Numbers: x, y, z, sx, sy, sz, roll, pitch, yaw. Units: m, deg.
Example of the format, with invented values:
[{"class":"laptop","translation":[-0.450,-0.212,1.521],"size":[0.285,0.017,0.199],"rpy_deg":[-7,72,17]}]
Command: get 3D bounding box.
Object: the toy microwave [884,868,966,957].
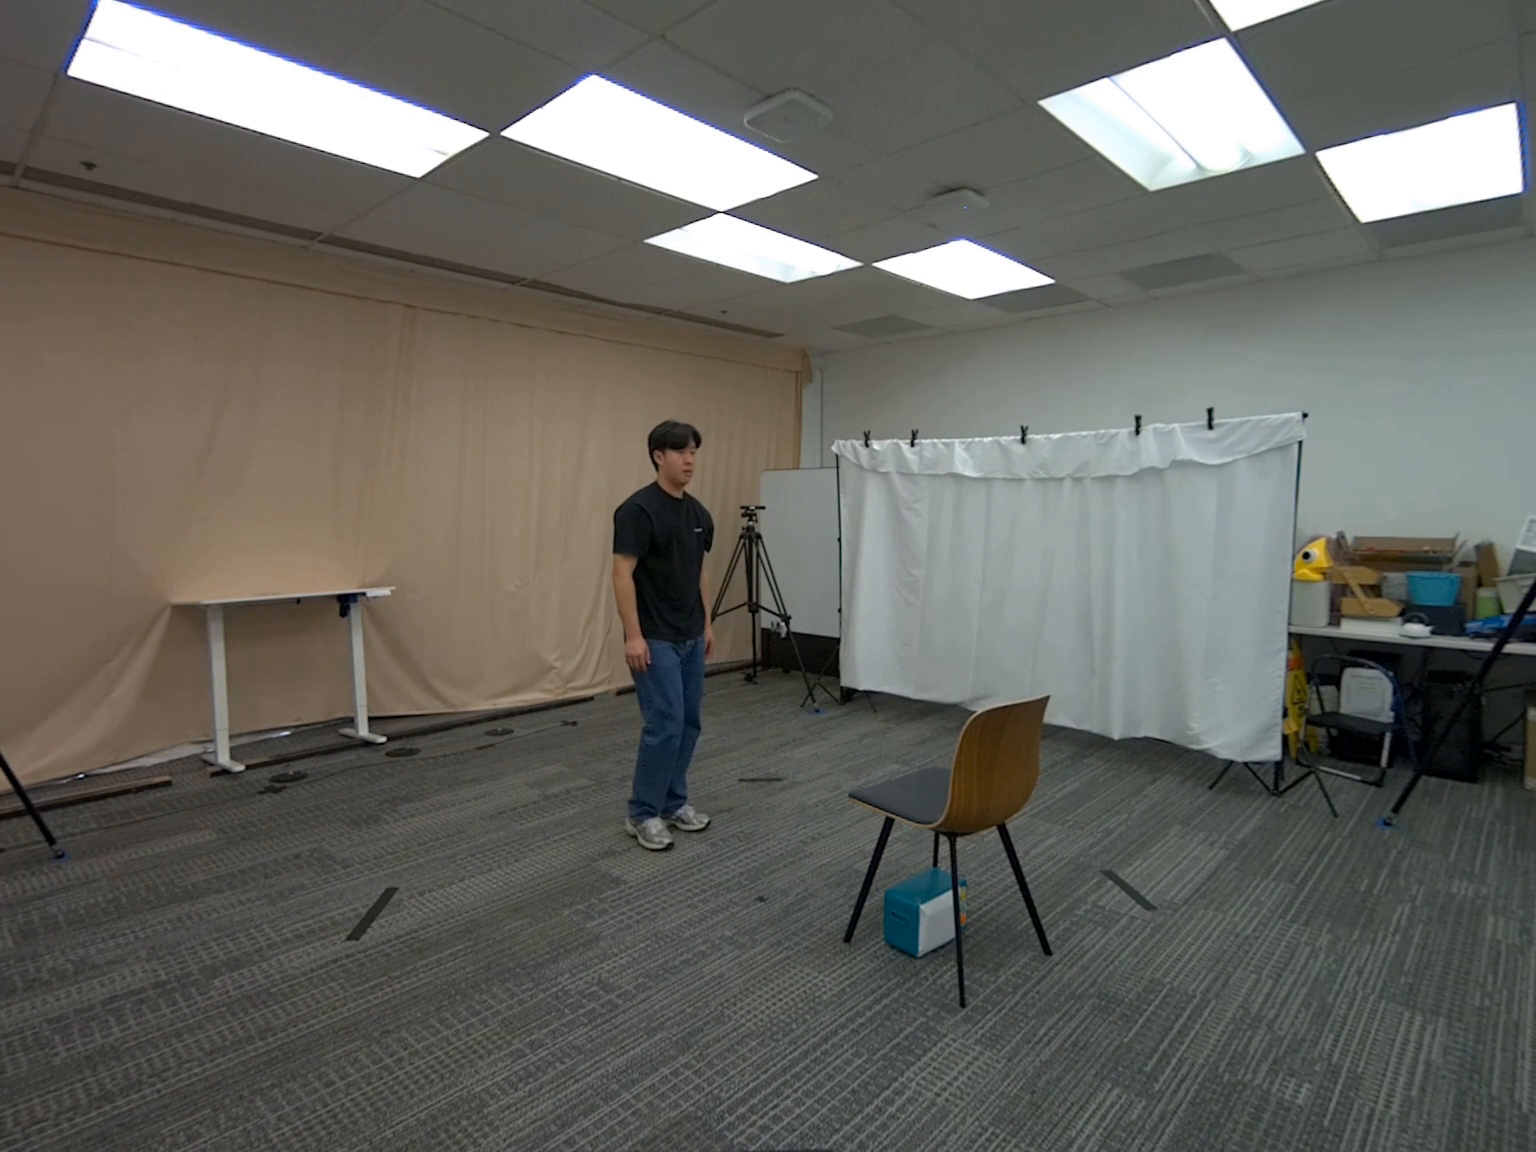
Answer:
[{"class":"toy microwave","translation":[0.523,1.077,2.694],"size":[0.277,0.184,0.157],"rpy_deg":[-4,5,-40]}]
